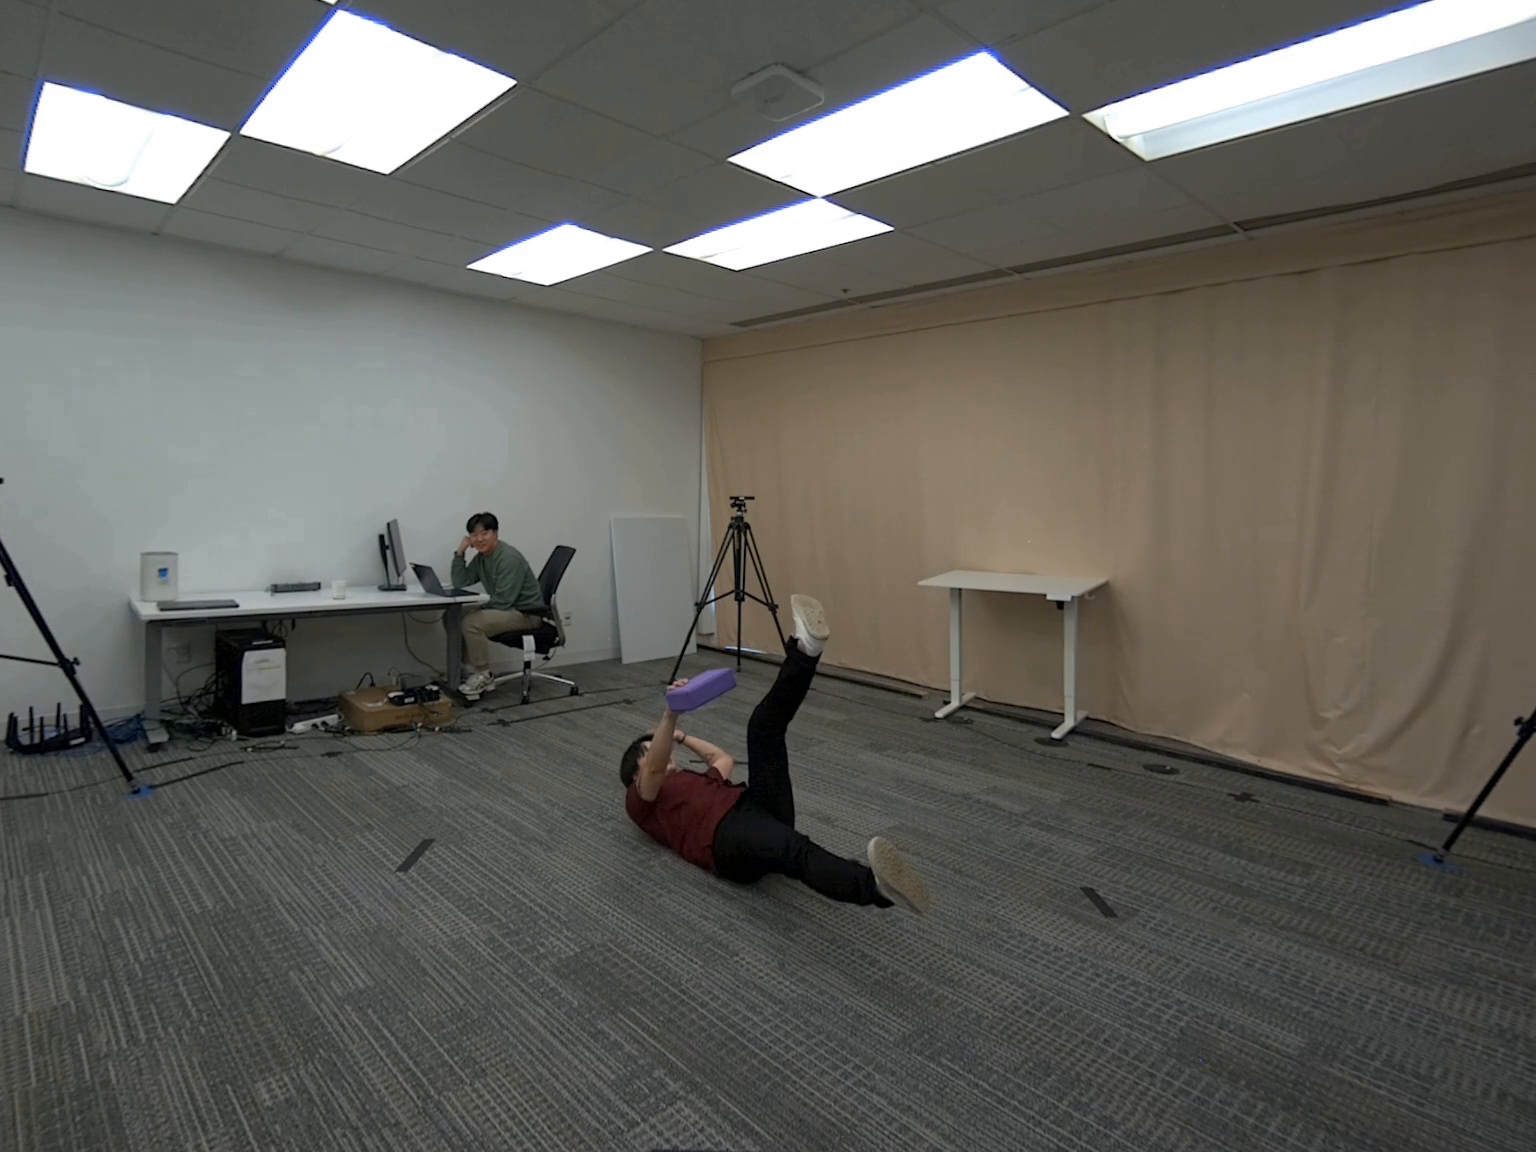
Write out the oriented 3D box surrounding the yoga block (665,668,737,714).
[{"bbox_3d":[-0.243,0.422,3.098,0.226,0.076,0.151,-23,6,-39],"label":"yoga block"}]
